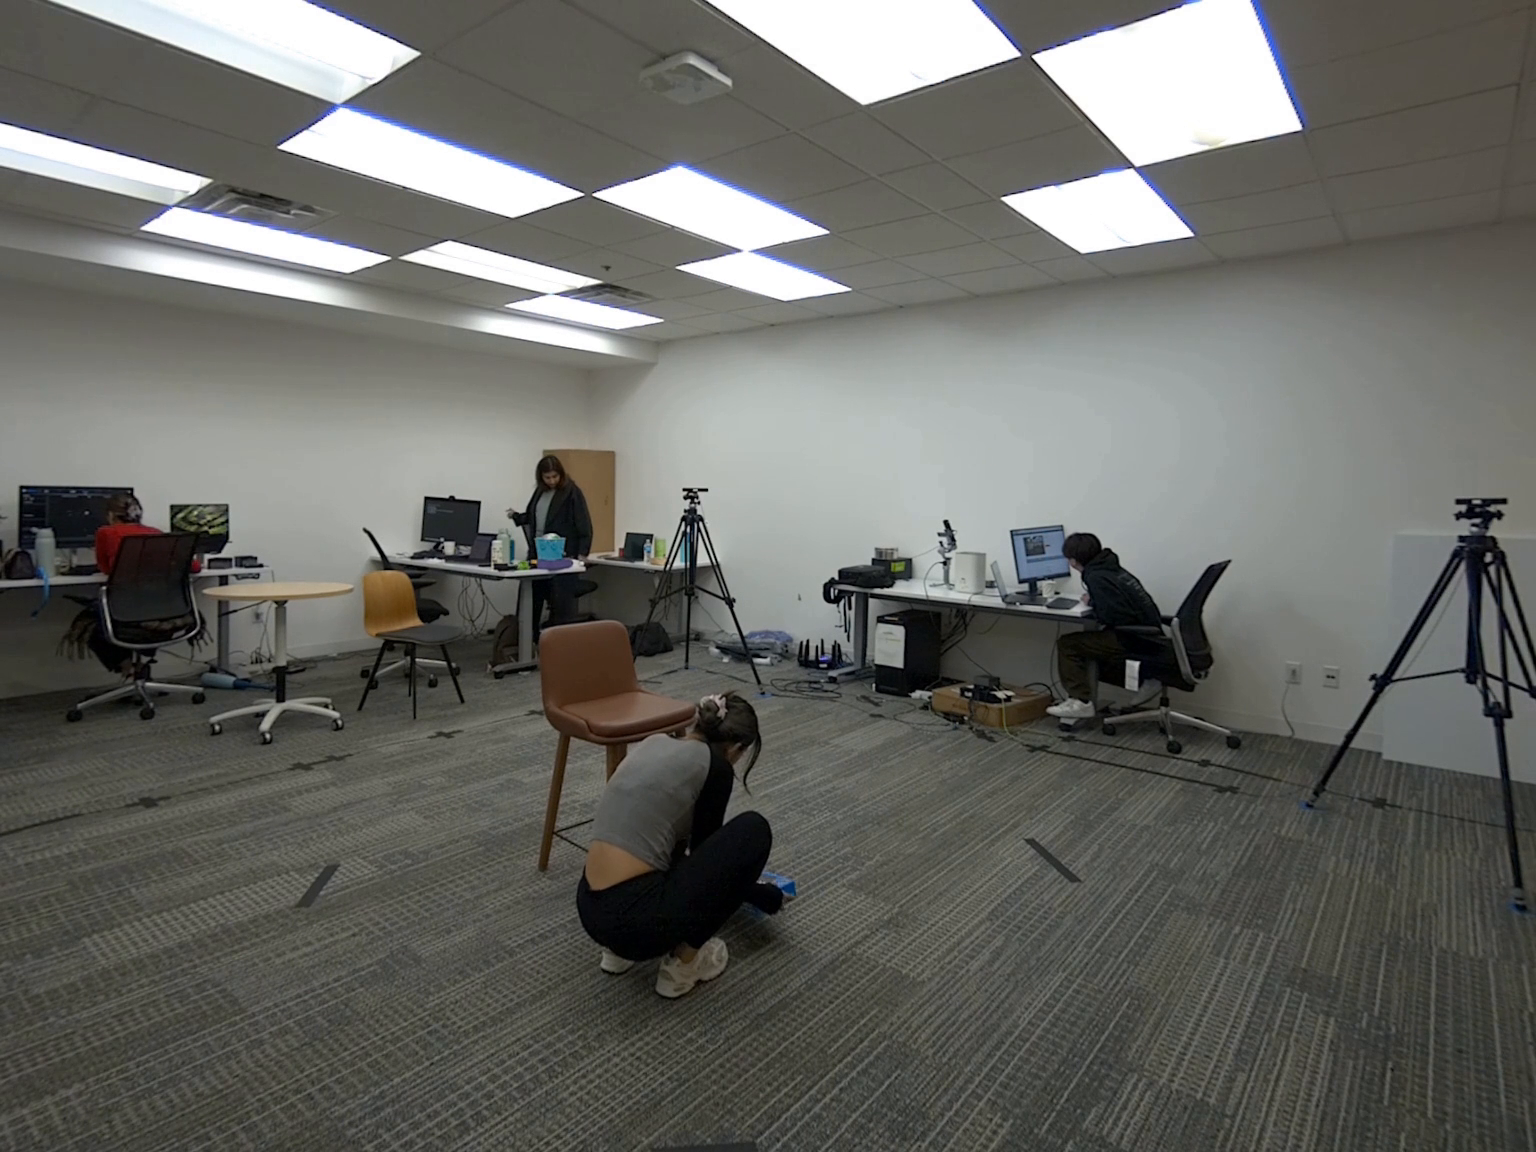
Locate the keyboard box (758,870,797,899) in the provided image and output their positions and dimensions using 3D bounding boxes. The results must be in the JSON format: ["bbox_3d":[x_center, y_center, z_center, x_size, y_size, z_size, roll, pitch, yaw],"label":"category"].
[{"bbox_3d":[-0.137,1.002,2.785,0.171,0.059,0.449,-7,2,-40],"label":"keyboard box"}]
